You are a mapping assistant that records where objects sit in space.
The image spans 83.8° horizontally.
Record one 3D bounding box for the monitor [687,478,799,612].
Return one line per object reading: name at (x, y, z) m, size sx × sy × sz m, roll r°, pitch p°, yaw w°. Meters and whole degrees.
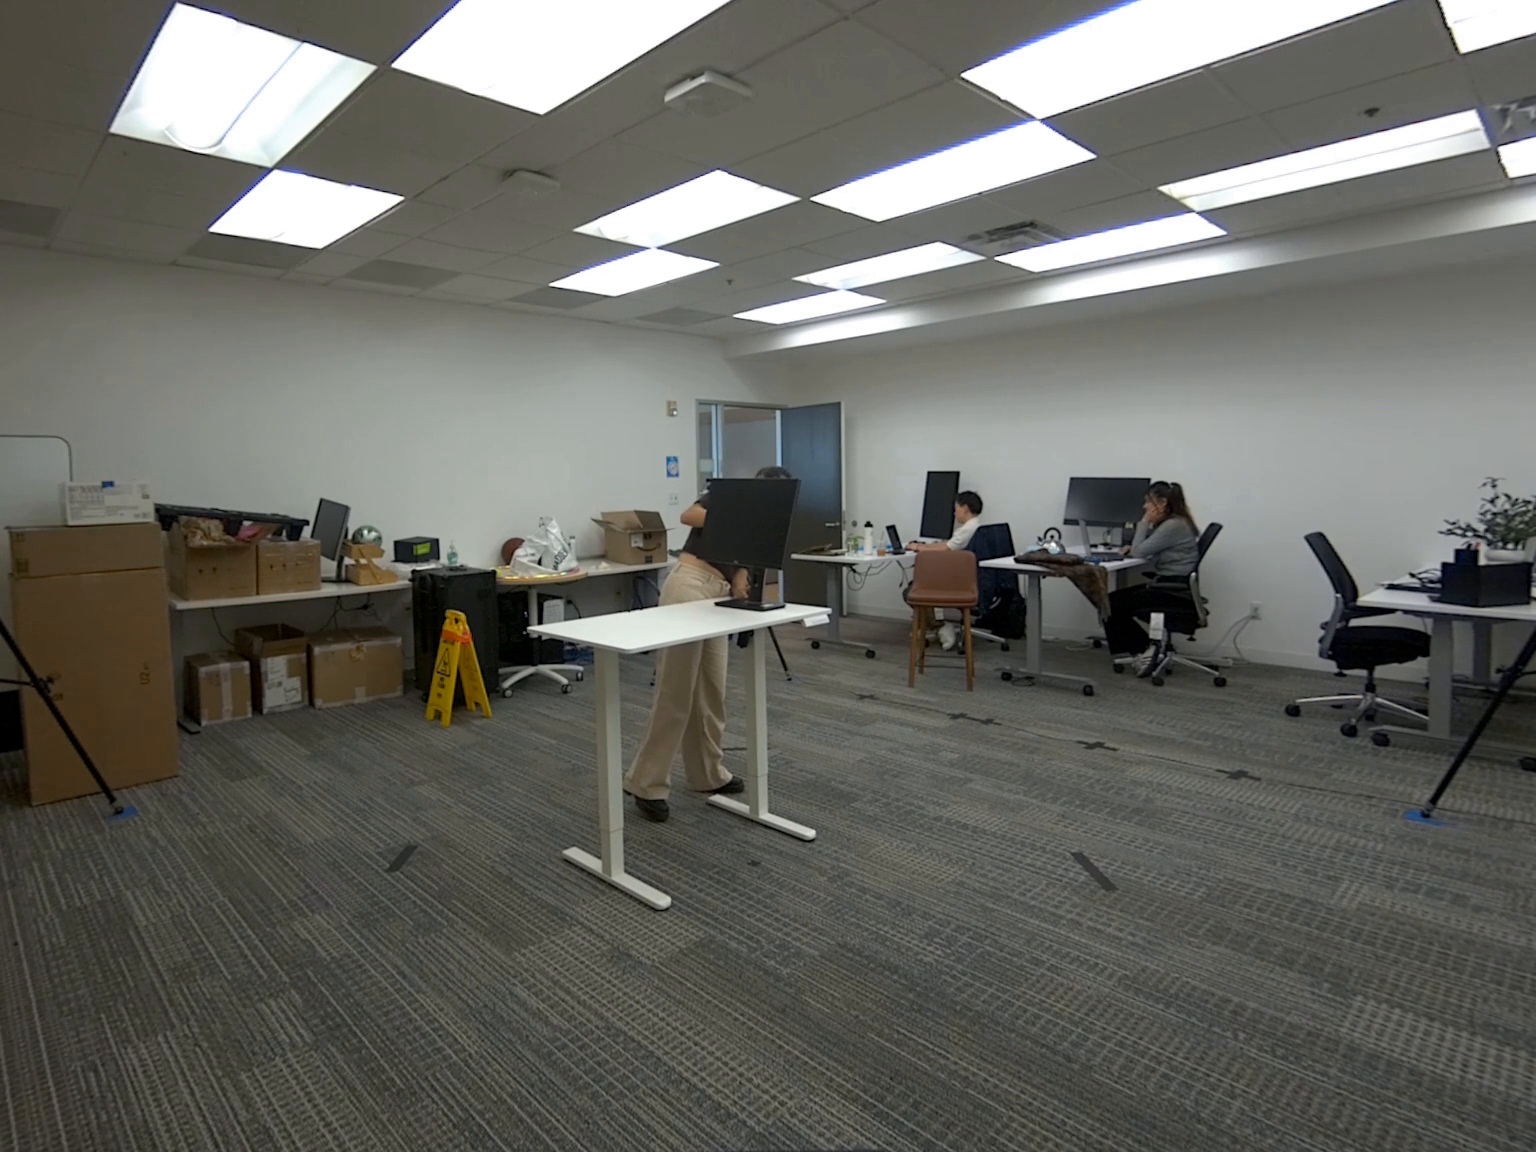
monitor at (-0.069, -0.130, 3.448) m, size 0.182 × 0.521 × 0.556 m, roll -2°, pitch 5°, yaw -42°
